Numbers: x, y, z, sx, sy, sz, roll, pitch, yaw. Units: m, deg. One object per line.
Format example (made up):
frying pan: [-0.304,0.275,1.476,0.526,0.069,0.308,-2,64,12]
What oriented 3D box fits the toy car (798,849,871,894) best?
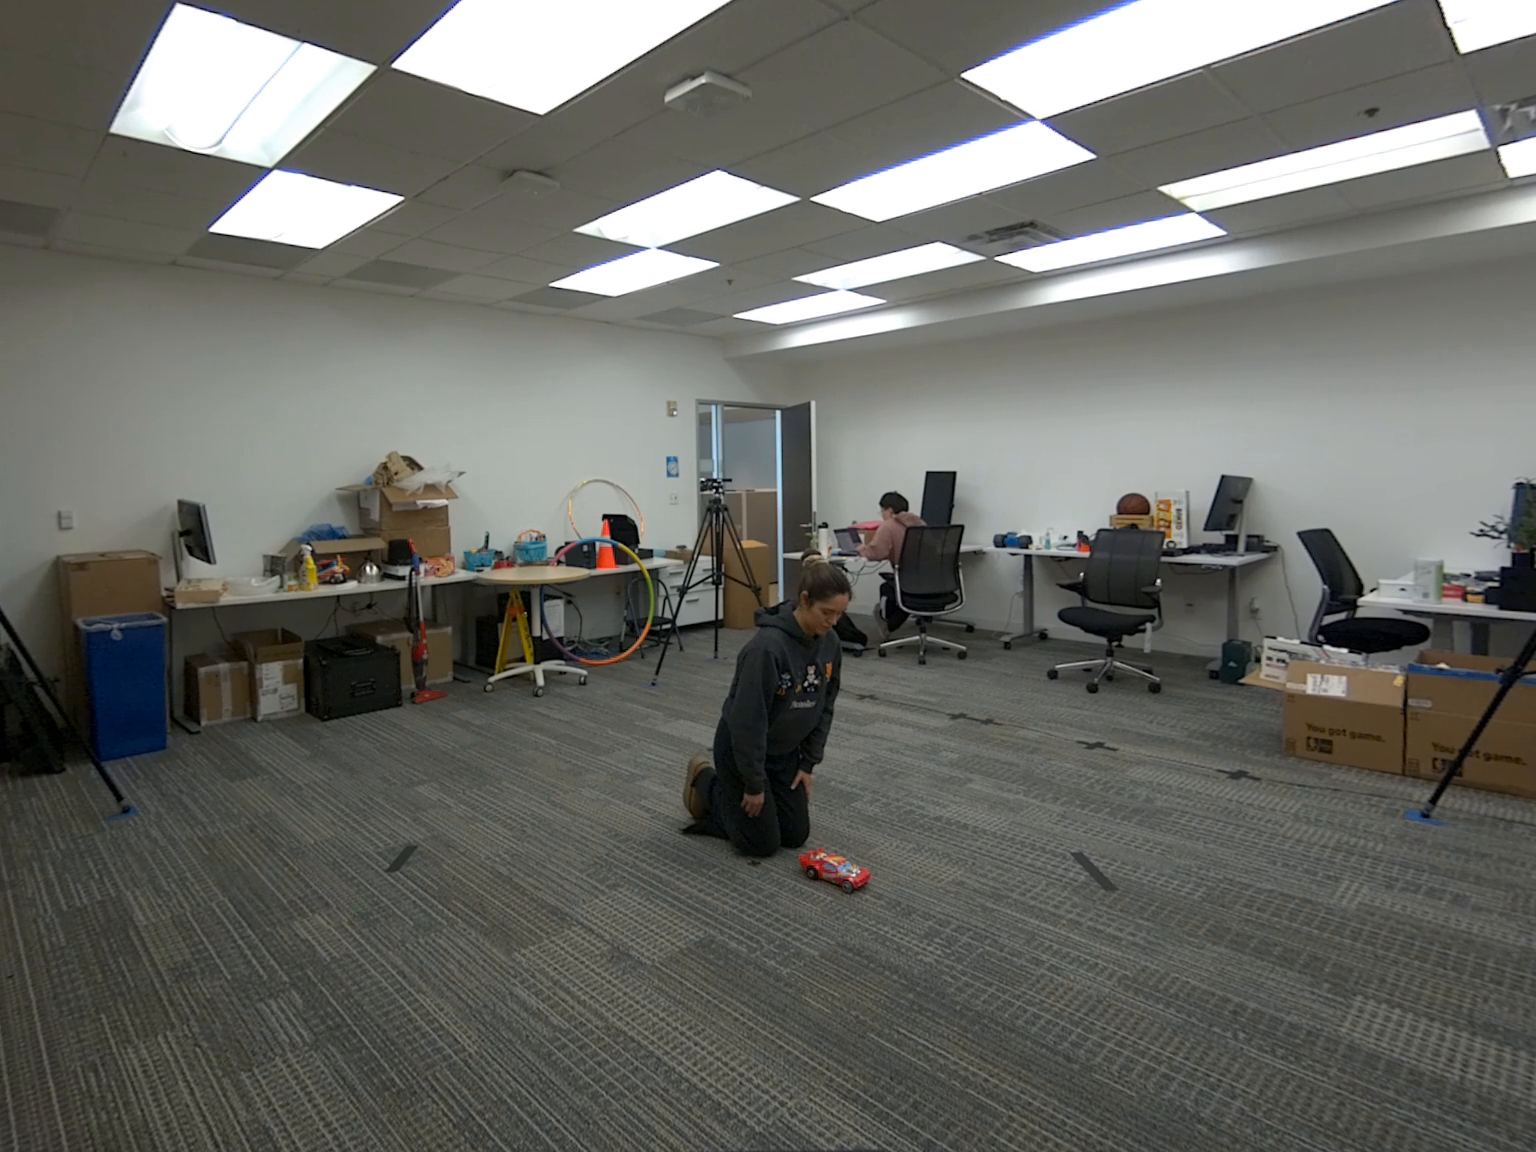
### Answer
toy car: [0.227,1.023,2.956,0.263,0.082,0.127,17,16,39]
